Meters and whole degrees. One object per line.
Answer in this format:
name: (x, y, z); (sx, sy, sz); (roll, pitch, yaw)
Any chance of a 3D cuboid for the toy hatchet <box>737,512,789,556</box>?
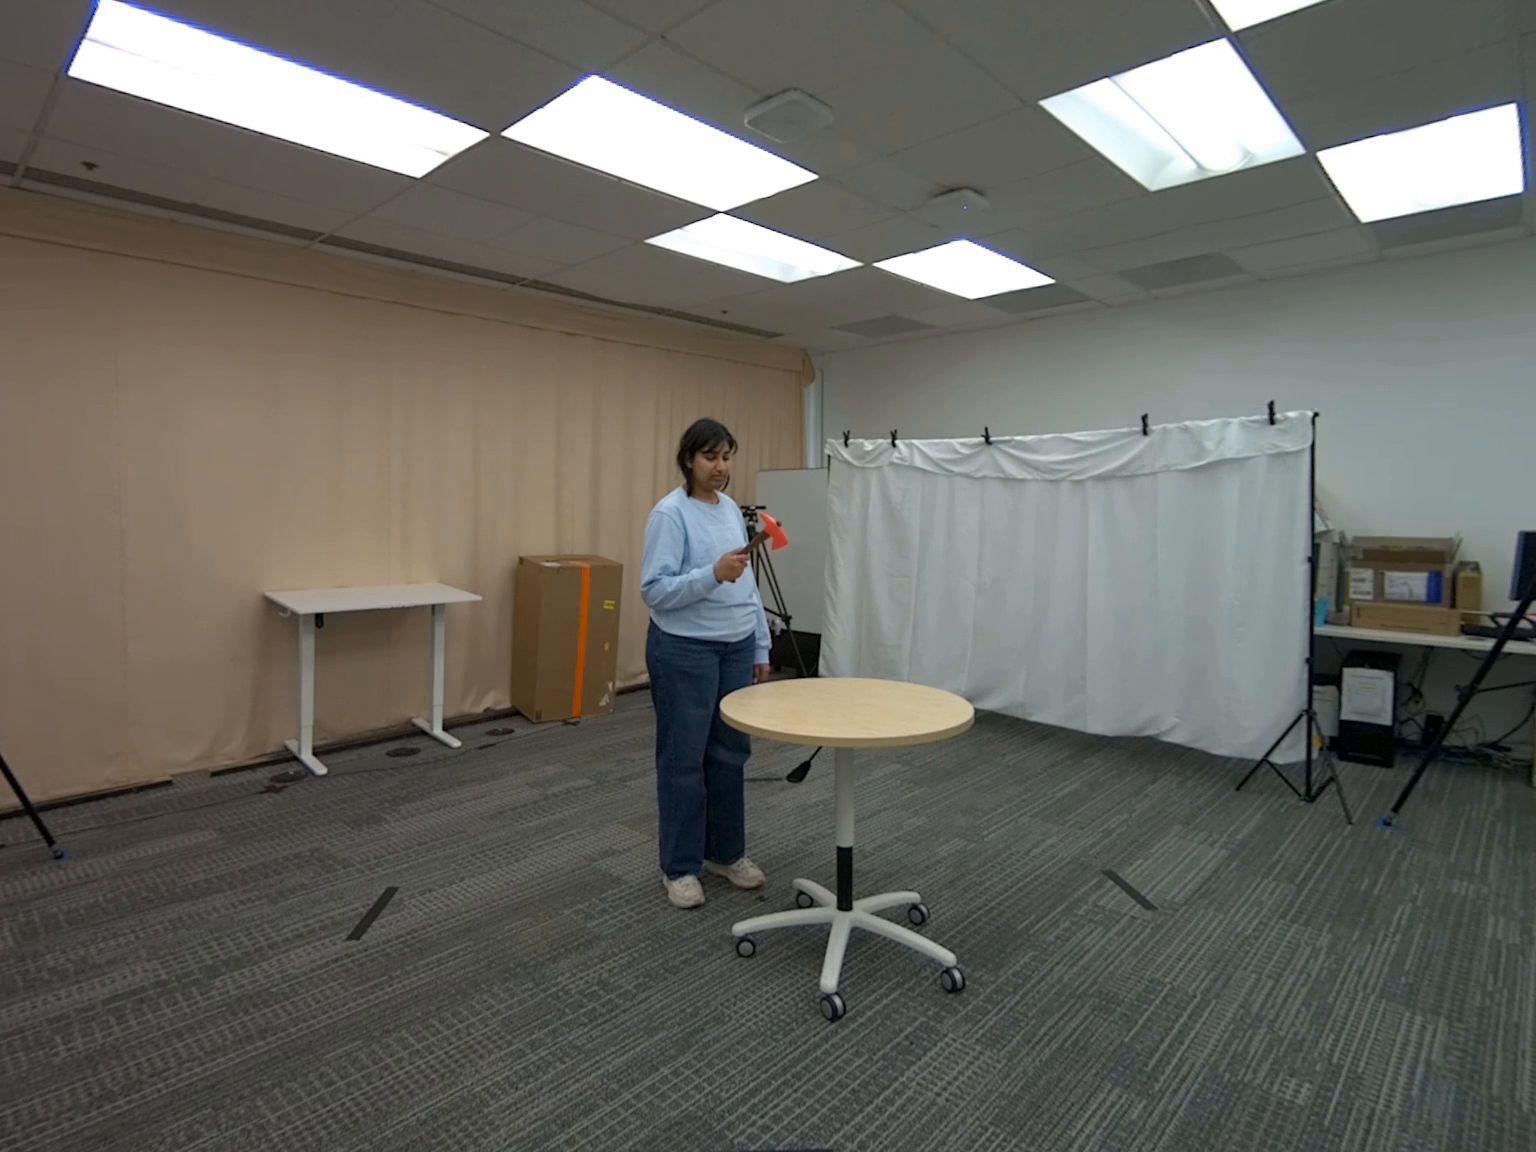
toy hatchet: (-0.034, -0.073, 2.764); (0.131, 0.270, 0.029); (32, 20, 0)
